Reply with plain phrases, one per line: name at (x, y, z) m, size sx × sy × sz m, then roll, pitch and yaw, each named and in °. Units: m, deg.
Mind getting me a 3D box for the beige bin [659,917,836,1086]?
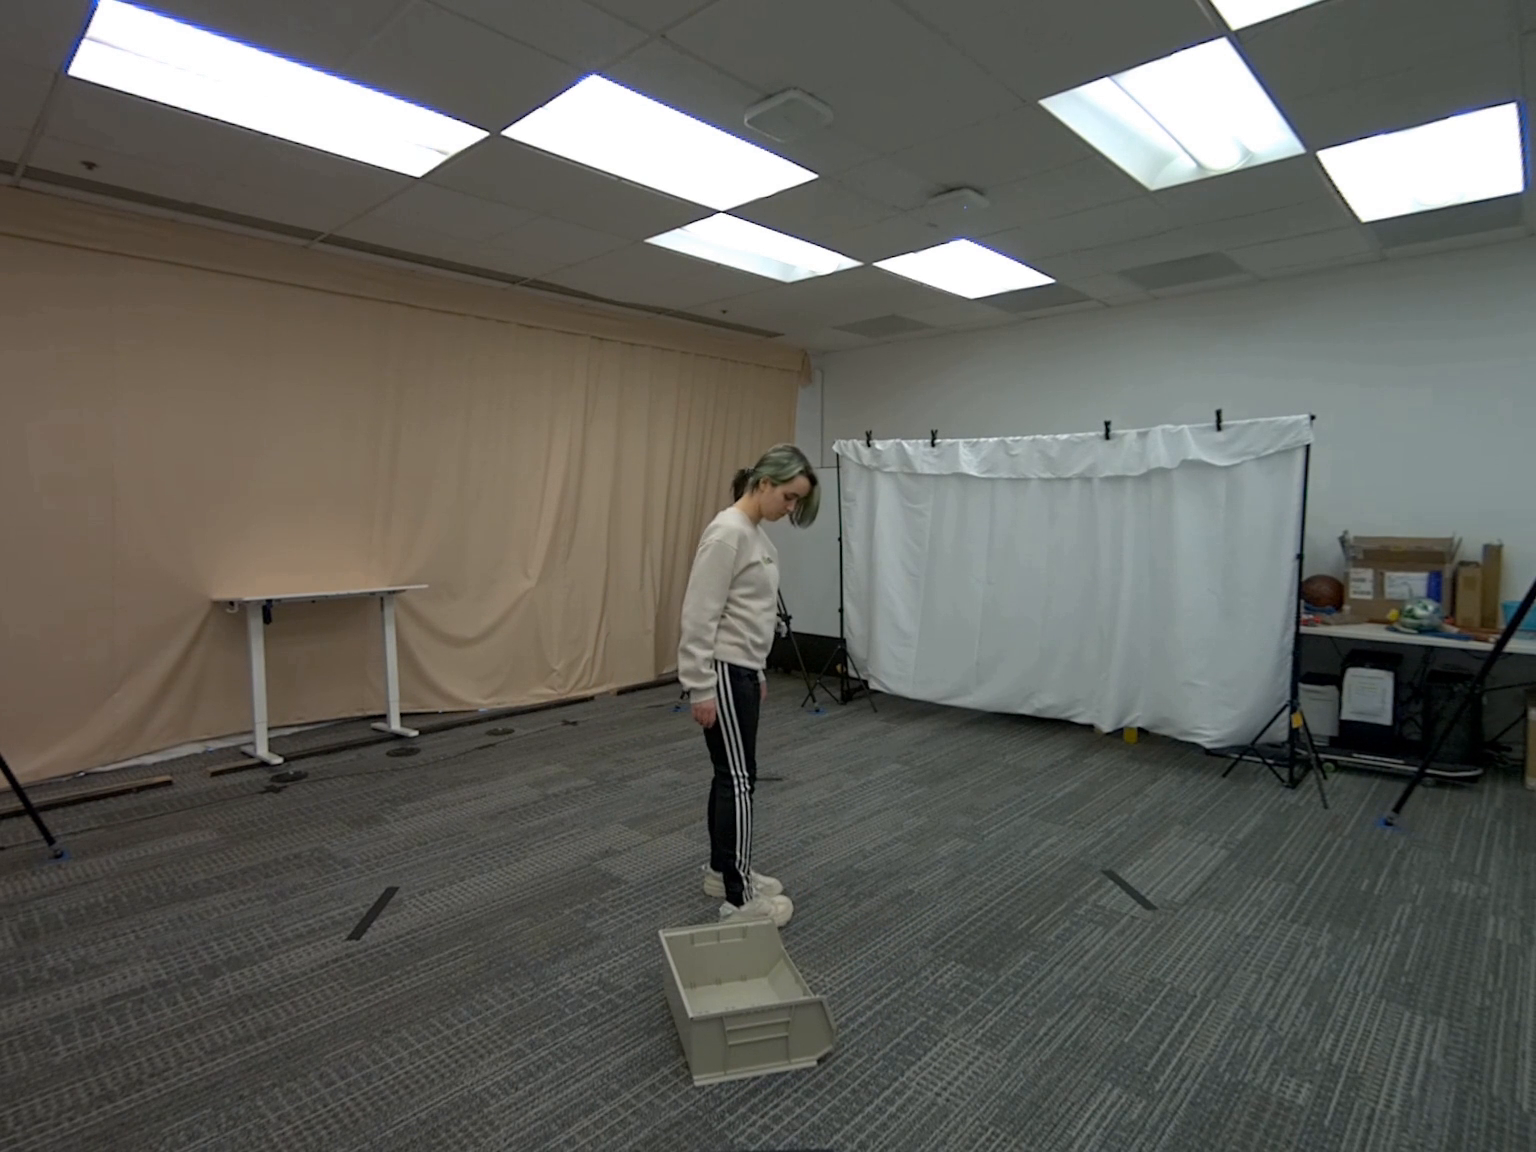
beige bin at (-0.068, 1.116, 2.252) m, size 0.371 × 0.188 × 0.430 m, roll -2°, pitch 6°, yaw -16°
